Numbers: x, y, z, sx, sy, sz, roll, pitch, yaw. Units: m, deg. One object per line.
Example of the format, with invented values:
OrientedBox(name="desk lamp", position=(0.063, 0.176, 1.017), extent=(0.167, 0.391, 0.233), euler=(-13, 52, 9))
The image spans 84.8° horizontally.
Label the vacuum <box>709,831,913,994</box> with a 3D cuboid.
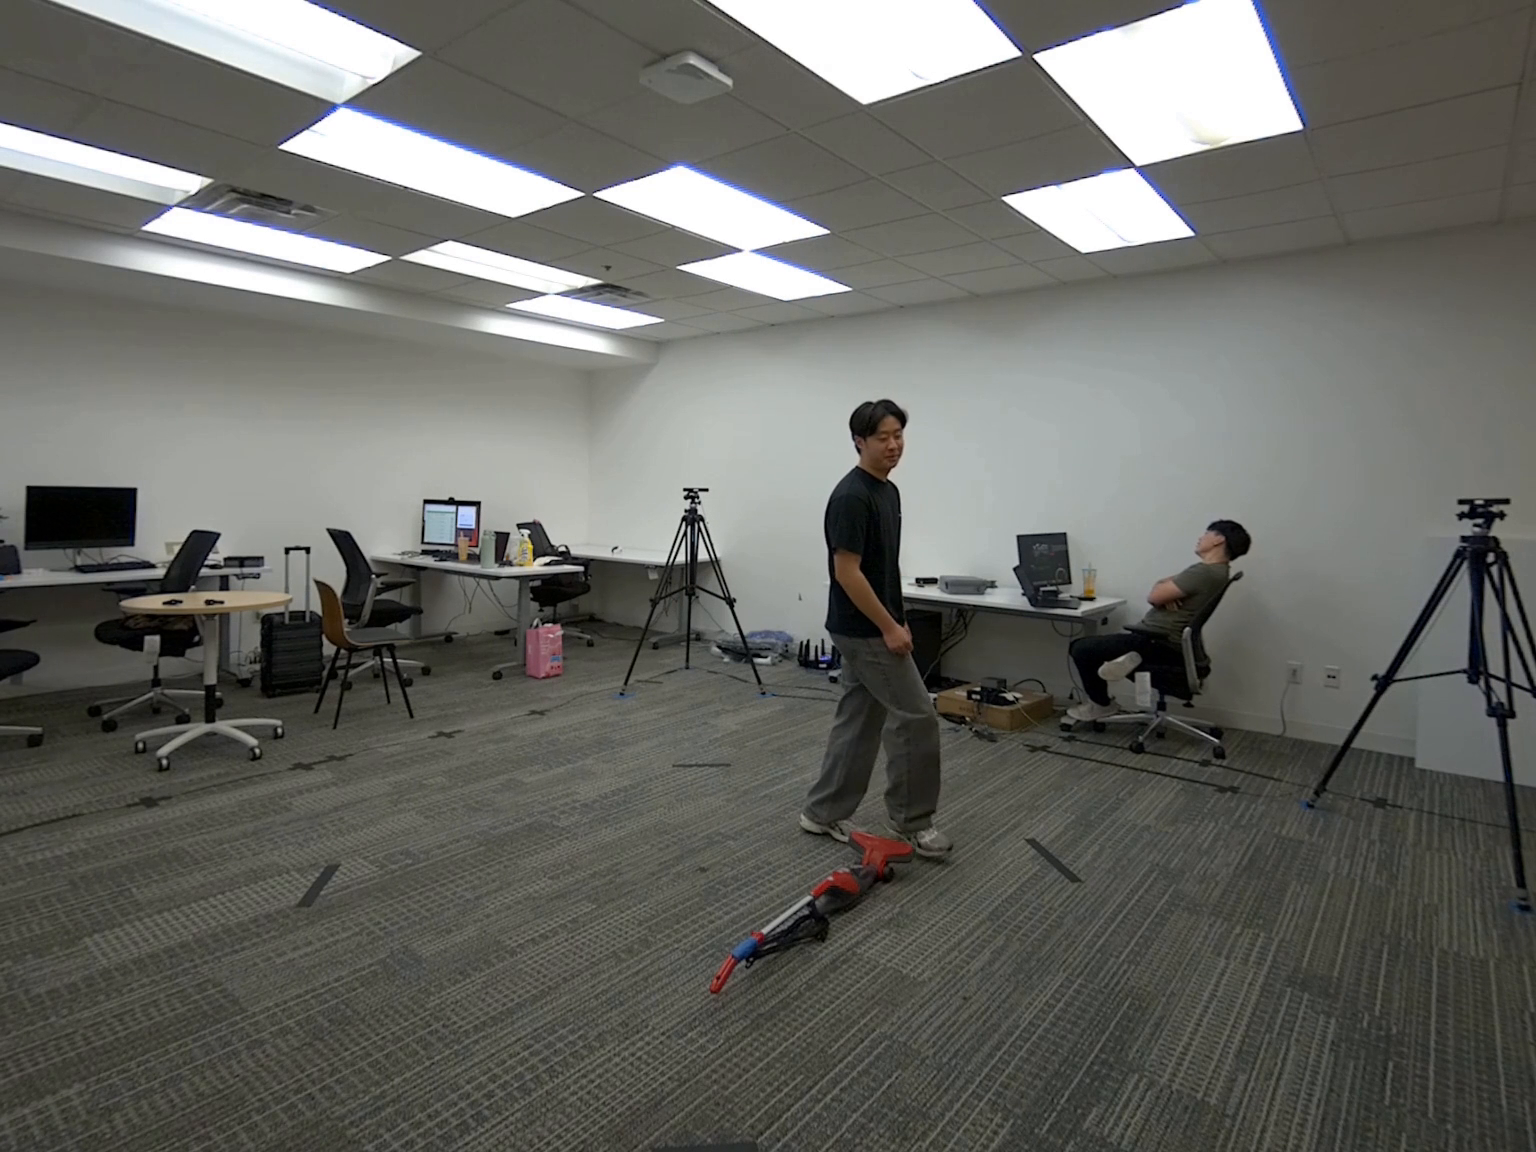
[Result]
OrientedBox(name="vacuum", position=(0.125, 1.063, 2.673), extent=(0.260, 0.143, 1.022), euler=(4, 7, 32))
